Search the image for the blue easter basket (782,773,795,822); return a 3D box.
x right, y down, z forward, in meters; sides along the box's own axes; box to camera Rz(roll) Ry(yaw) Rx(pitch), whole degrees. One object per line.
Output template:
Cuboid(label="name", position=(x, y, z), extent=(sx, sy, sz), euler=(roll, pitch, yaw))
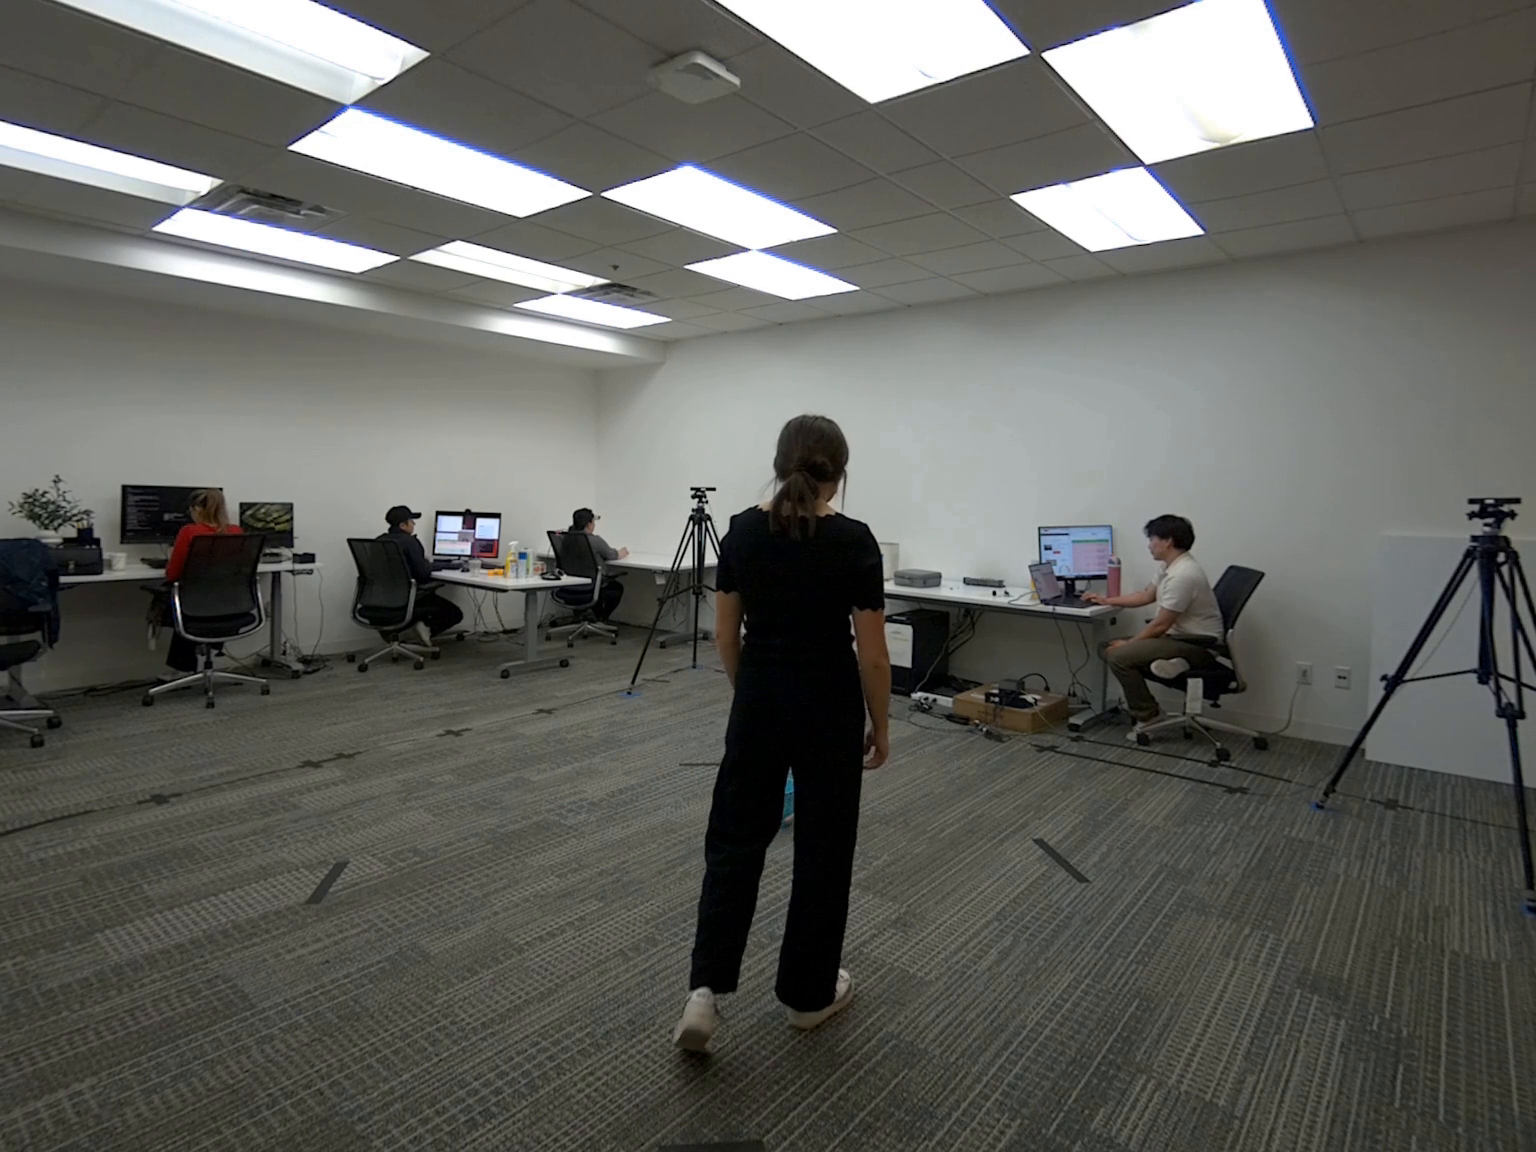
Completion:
Cuboid(label="blue easter basket", position=(-0.005, 0.939, 3.569), extent=(0.243, 0.155, 0.245), euler=(1, 4, -2))
